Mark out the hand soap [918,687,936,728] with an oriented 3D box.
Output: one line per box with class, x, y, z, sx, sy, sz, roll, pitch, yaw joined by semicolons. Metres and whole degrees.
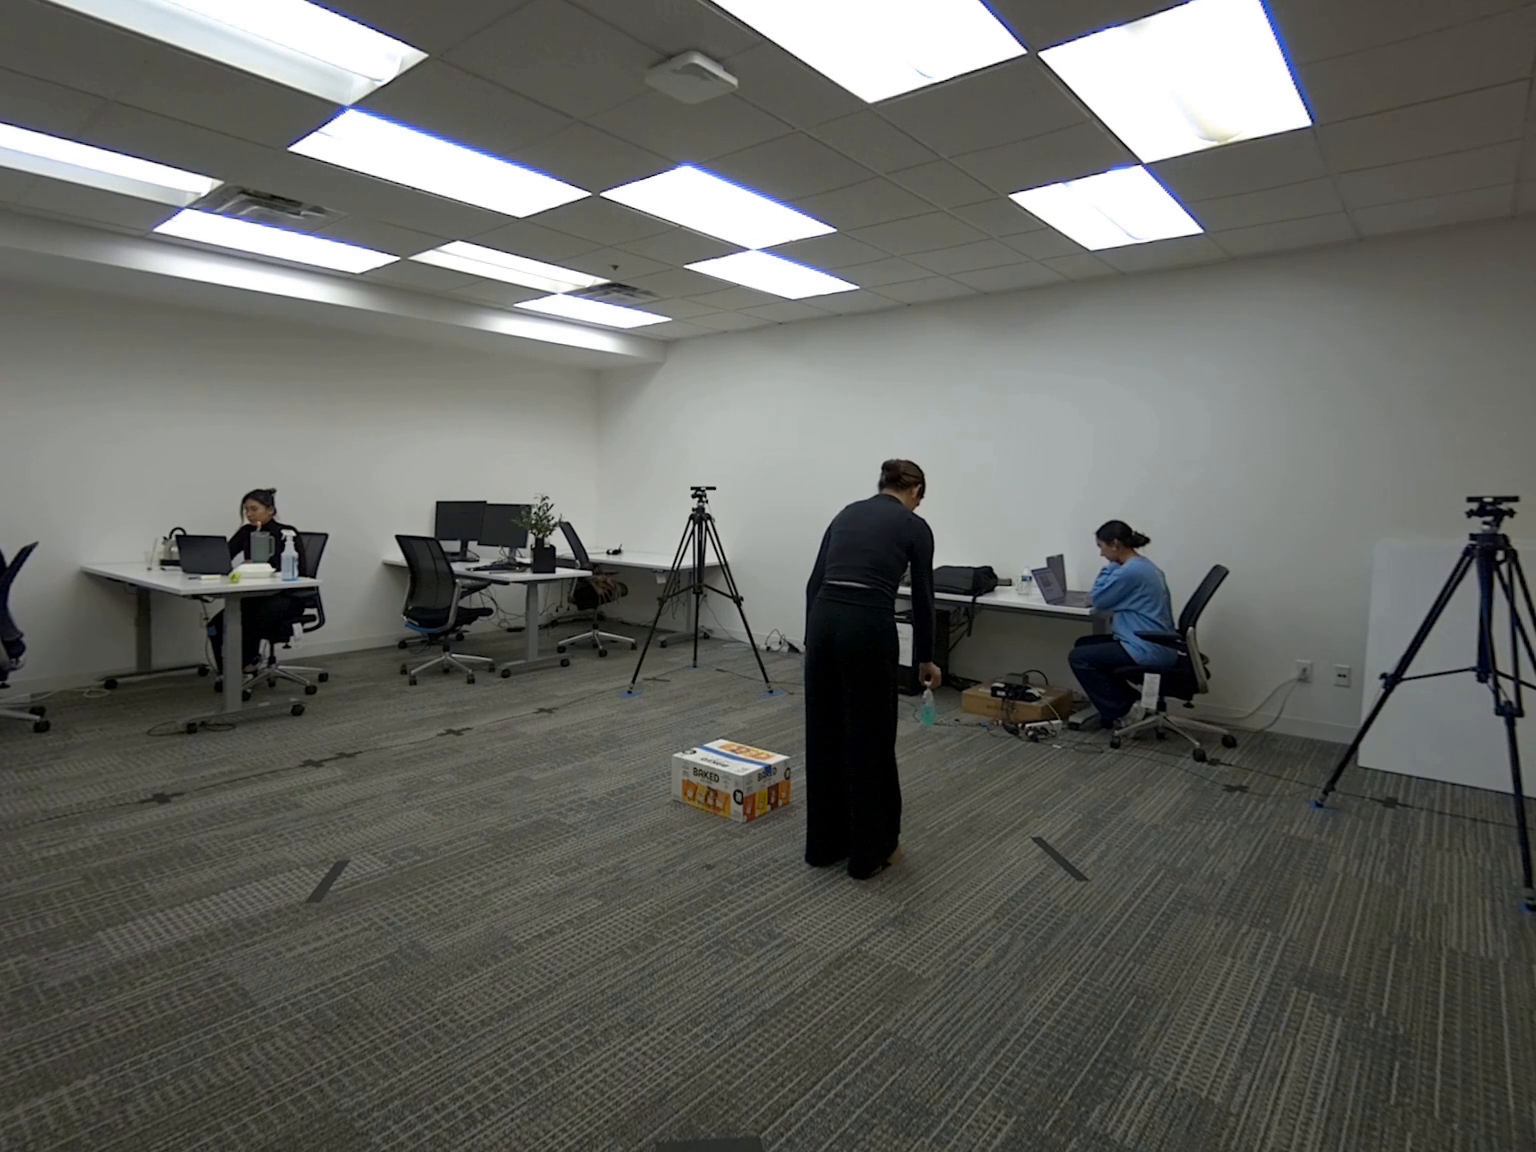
hand soap;0.607;0.494;3.280;0.043;0.167;0.086;-2;8;-16
